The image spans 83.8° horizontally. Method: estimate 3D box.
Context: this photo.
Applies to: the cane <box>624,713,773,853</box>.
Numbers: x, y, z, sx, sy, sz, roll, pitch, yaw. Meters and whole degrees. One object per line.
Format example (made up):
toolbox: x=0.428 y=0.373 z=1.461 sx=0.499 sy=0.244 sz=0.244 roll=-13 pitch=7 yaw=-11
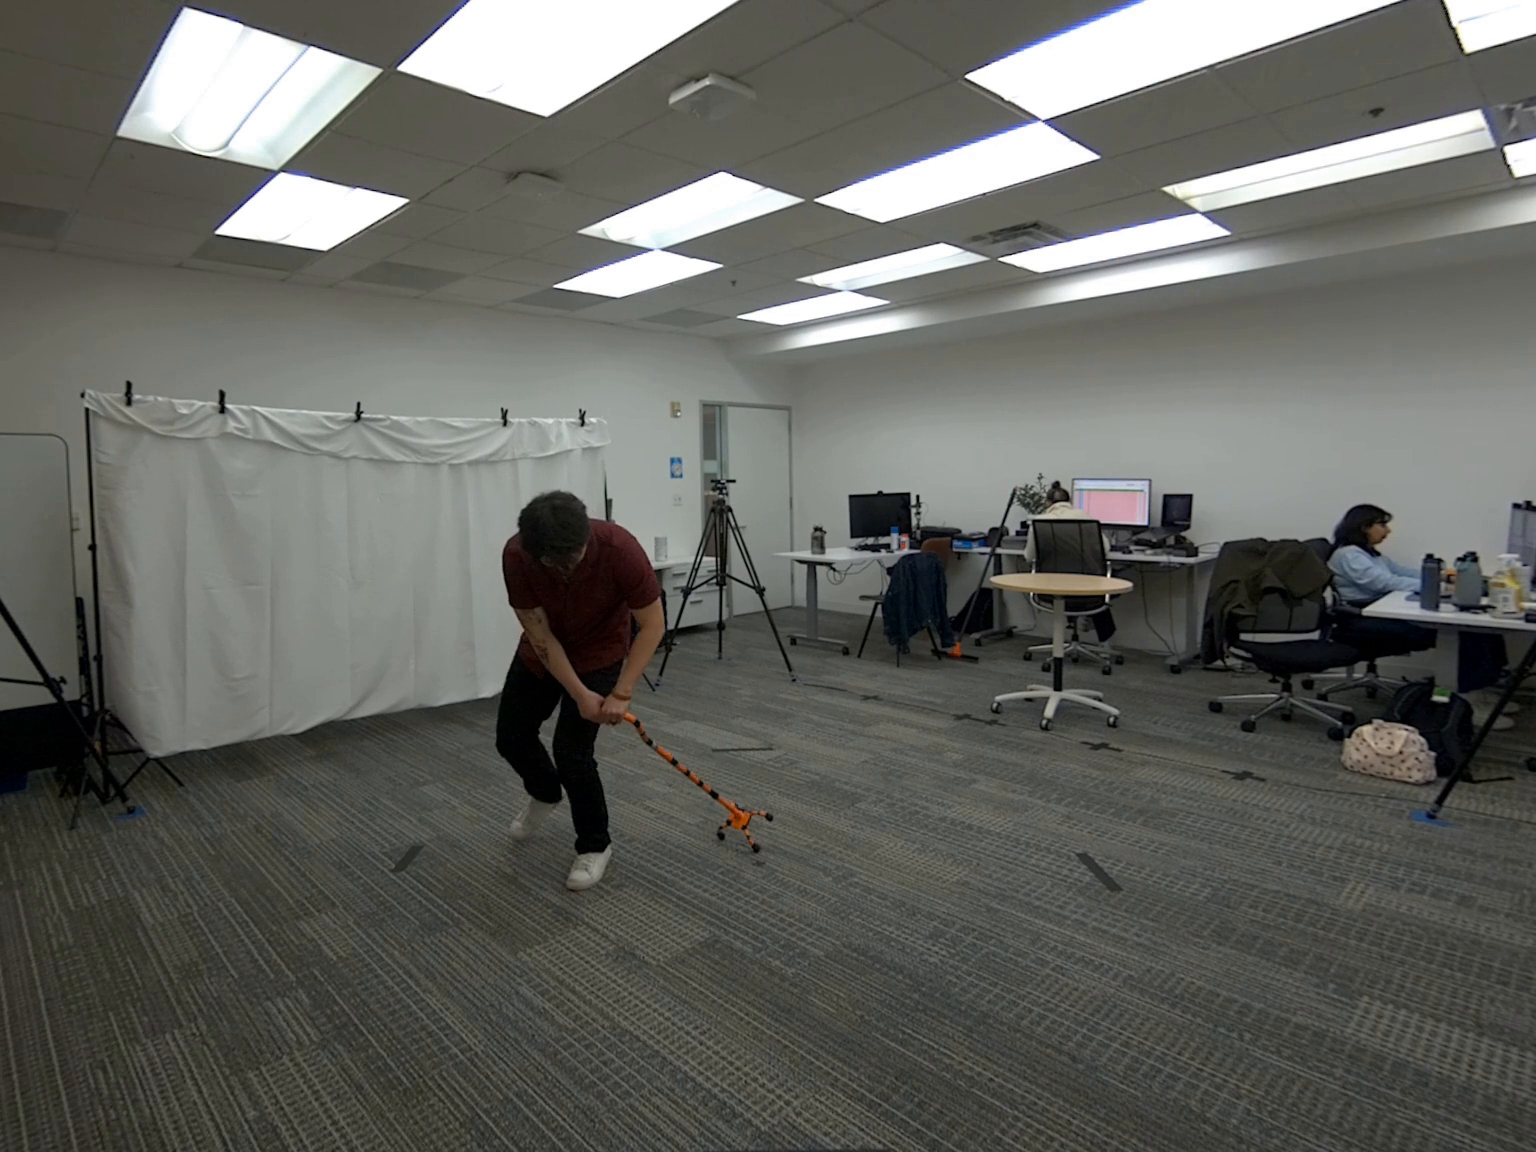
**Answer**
cane: x=-0.296 y=0.706 z=3.024 sx=0.213 sy=0.153 sz=0.873 roll=3 pitch=-35 yaw=40
